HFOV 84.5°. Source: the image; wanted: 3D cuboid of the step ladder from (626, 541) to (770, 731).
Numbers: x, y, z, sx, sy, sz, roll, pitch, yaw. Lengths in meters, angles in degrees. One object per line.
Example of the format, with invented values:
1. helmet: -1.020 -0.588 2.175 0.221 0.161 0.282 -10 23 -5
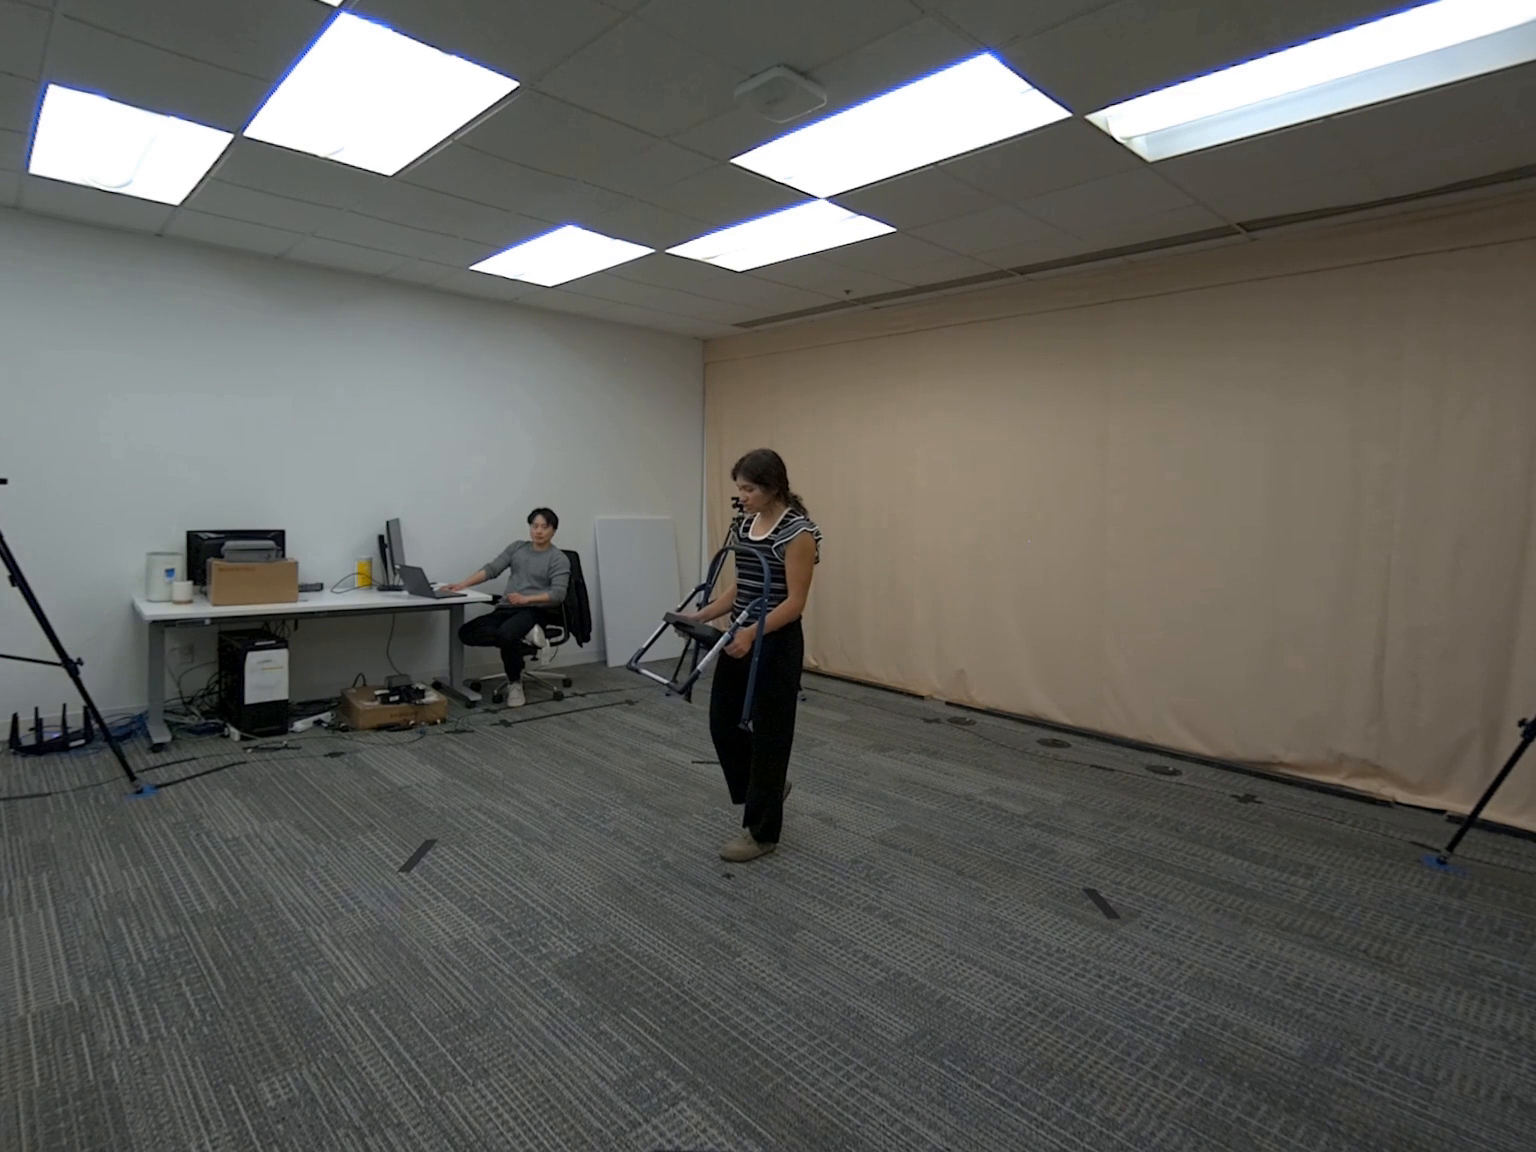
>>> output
1. step ladder: -0.188 0.189 3.181 0.339 0.608 0.442 35 -14 -34
